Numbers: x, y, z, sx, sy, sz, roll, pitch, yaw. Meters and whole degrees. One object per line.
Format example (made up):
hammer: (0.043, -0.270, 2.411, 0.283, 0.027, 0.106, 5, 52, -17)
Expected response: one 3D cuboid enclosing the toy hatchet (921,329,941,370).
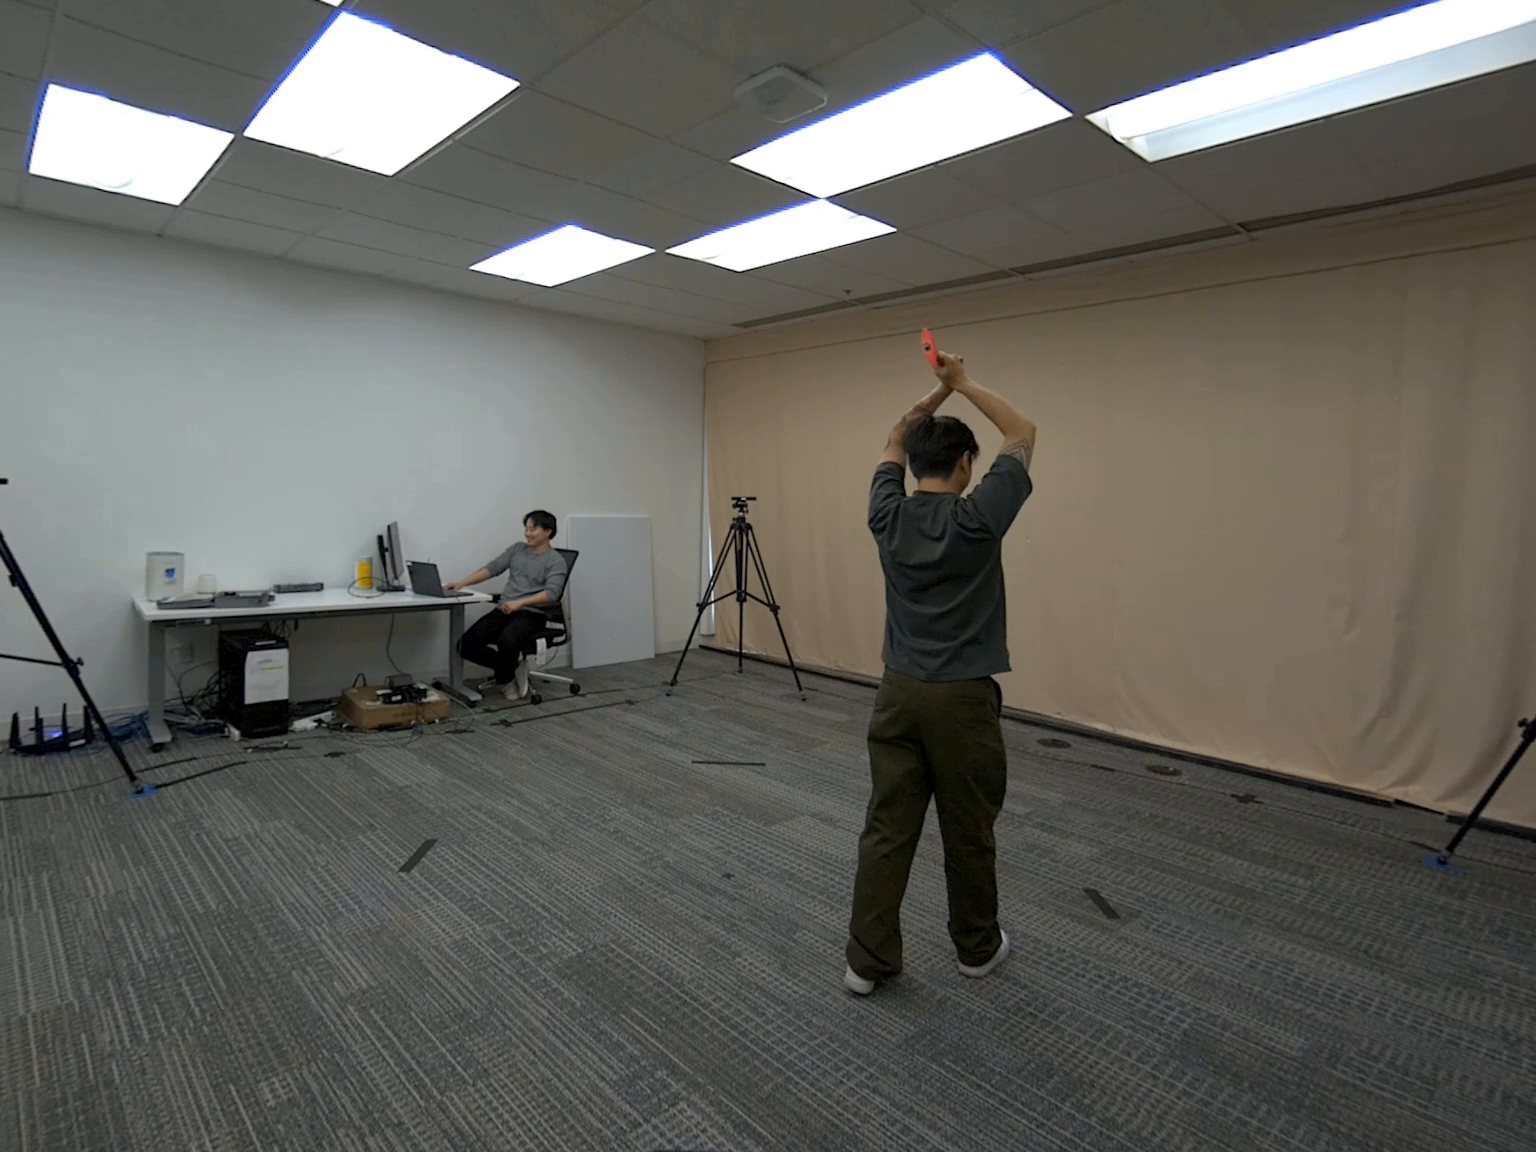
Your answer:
toy hatchet: (0.505, -0.666, 2.490, 0.030, 0.131, 0.266, -23, -1, 31)
